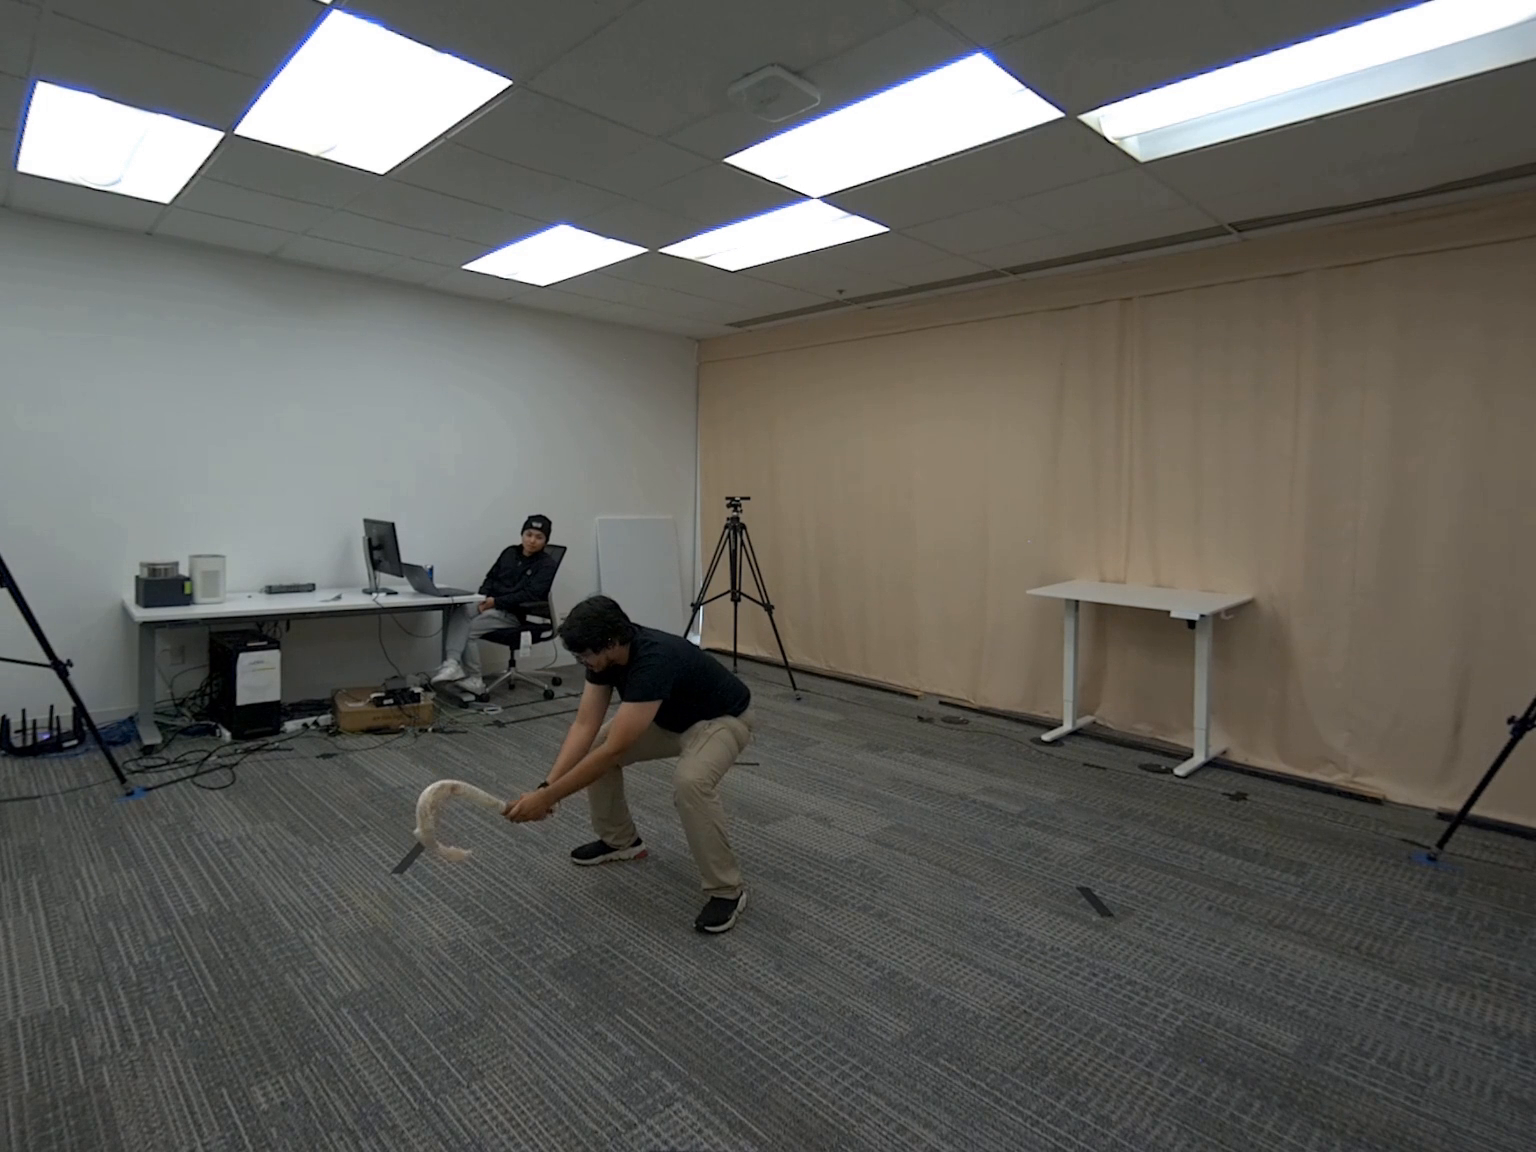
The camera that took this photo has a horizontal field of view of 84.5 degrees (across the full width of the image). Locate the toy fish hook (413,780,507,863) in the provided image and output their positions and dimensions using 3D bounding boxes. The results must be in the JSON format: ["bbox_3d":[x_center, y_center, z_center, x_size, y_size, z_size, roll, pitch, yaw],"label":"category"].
[{"bbox_3d":[-0.864,0.760,2.579,0.049,0.228,0.491,-13,-25,33],"label":"toy fish hook"}]
